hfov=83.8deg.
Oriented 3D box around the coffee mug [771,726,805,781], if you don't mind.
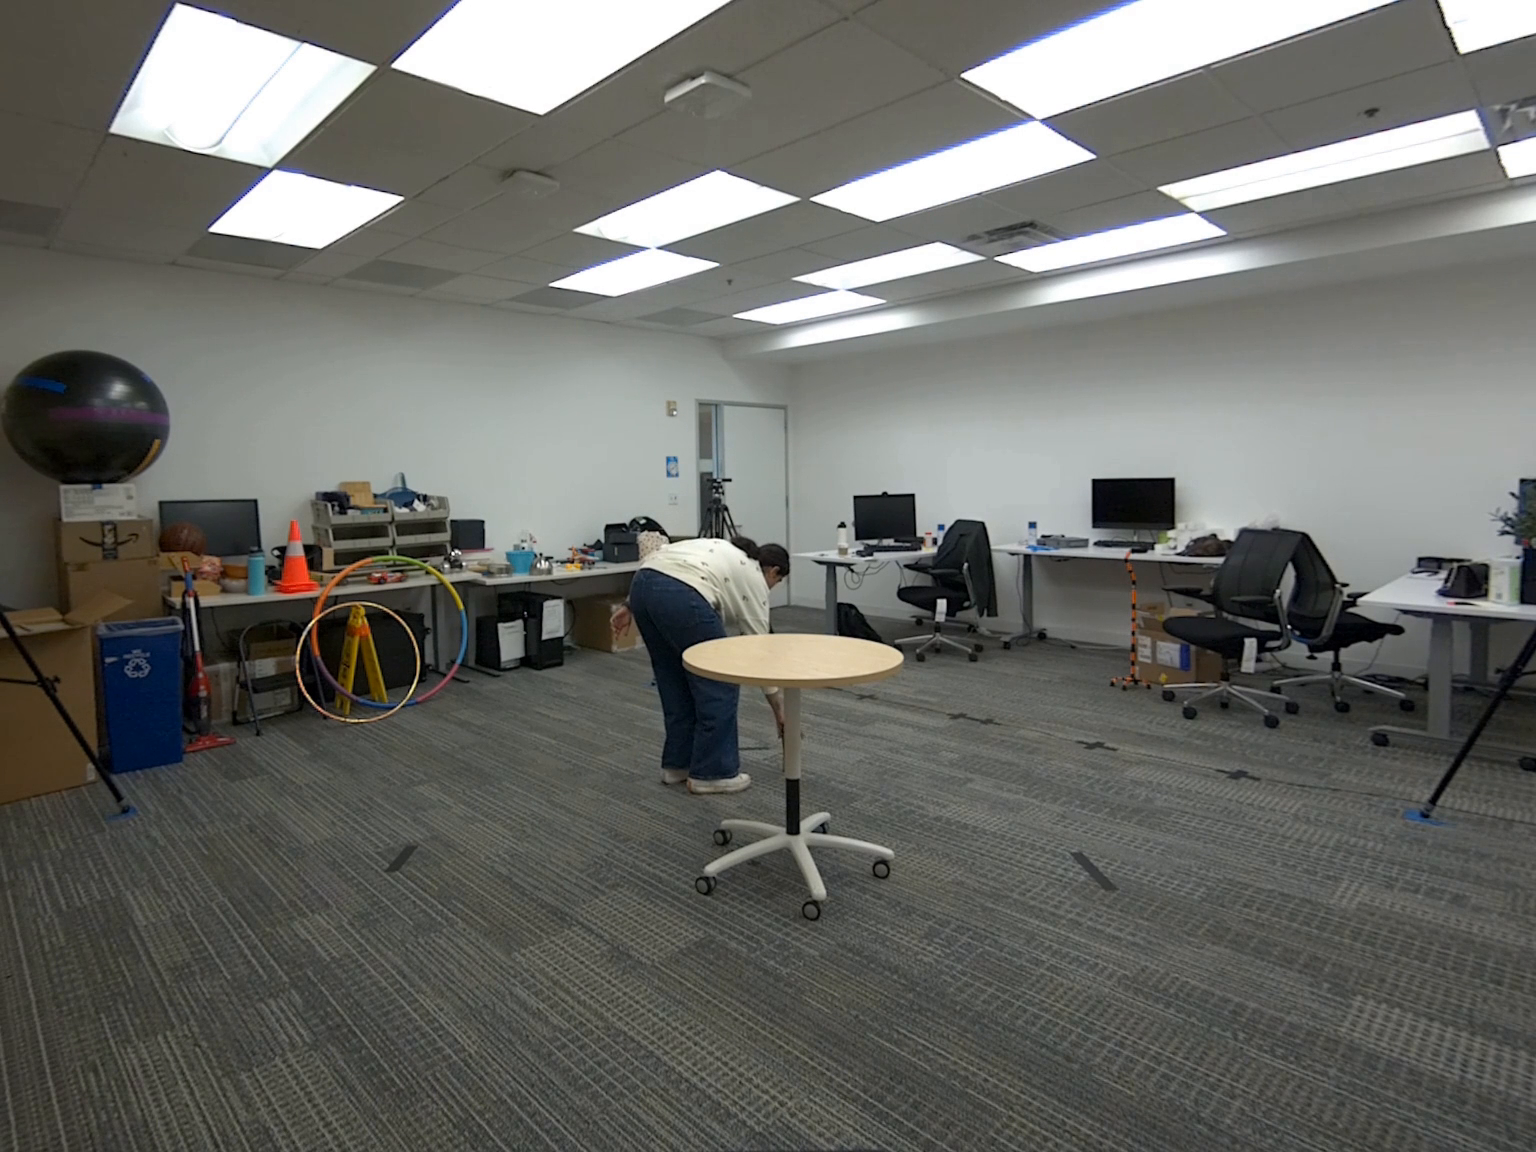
[{"bbox_3d":[0.092,0.836,4.053,0.091,0.201,0.119,10,12,41],"label":"coffee mug"}]
